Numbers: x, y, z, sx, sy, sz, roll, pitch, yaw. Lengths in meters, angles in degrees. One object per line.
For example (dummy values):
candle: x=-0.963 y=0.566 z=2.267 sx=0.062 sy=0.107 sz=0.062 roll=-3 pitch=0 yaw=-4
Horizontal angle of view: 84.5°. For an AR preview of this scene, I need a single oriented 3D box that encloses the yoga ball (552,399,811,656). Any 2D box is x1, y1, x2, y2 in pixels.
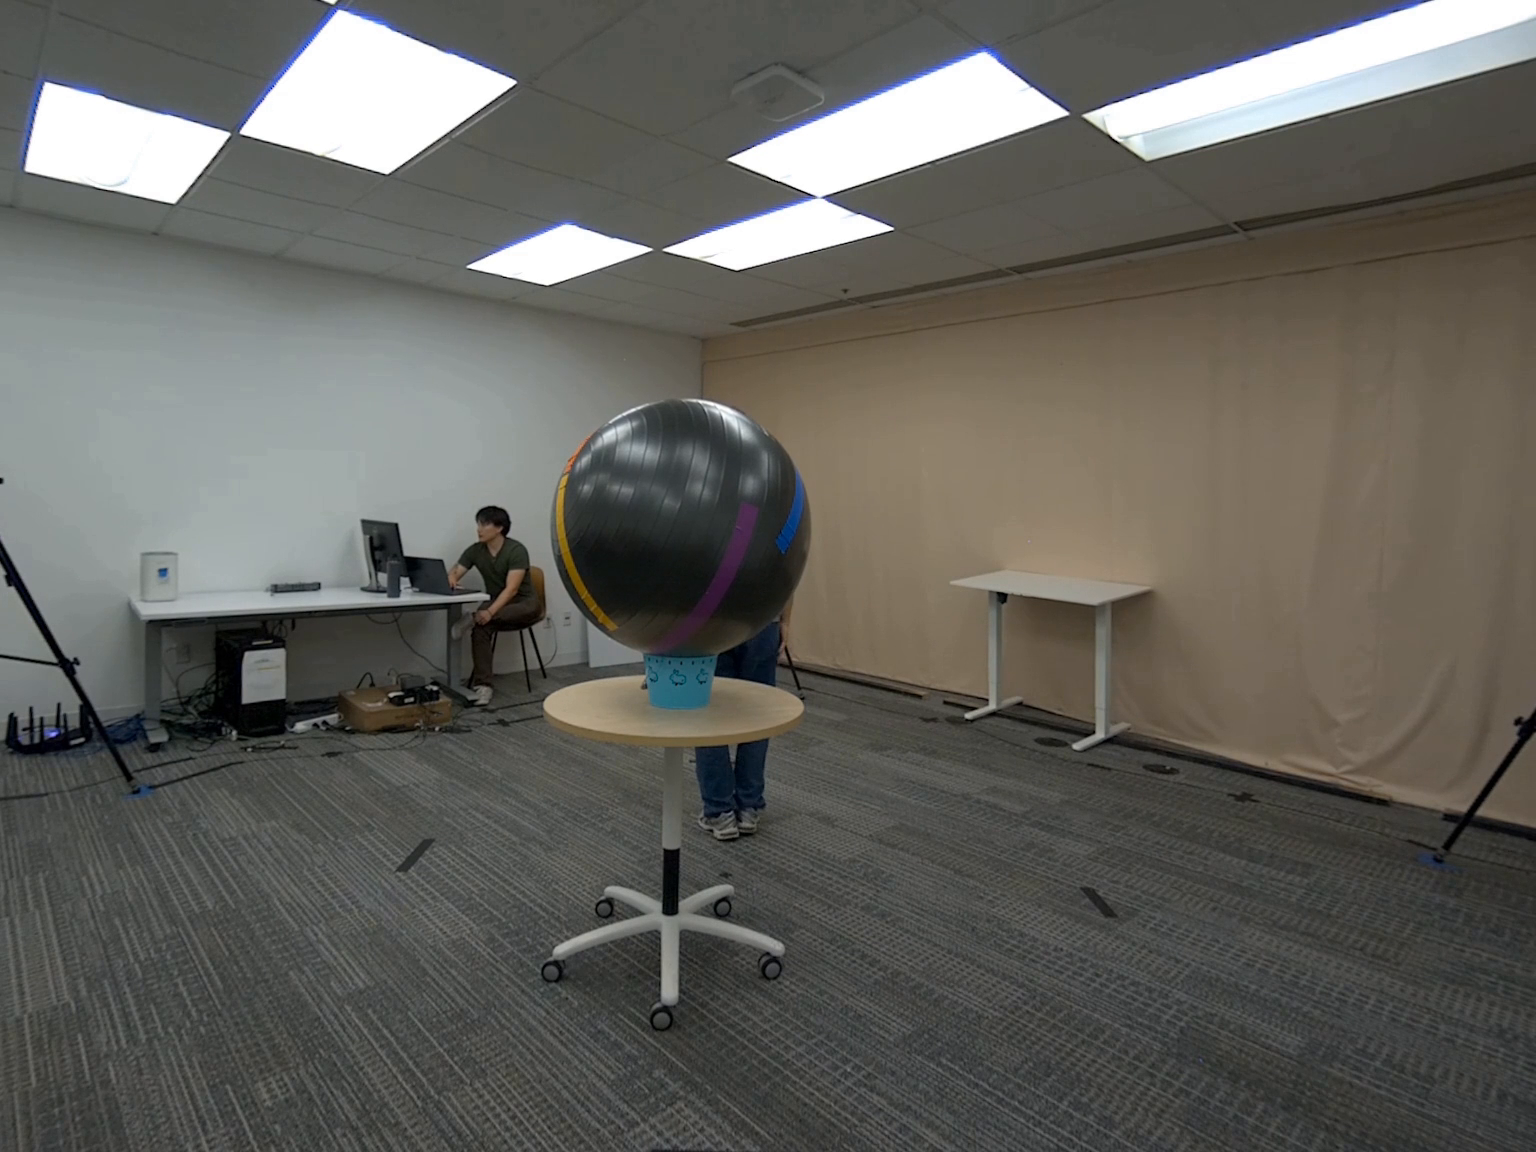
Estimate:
yoga ball: x=-0.259 y=-0.135 z=2.470 sx=0.757 sy=0.756 sz=0.761 roll=1 pitch=4 yaw=-1
